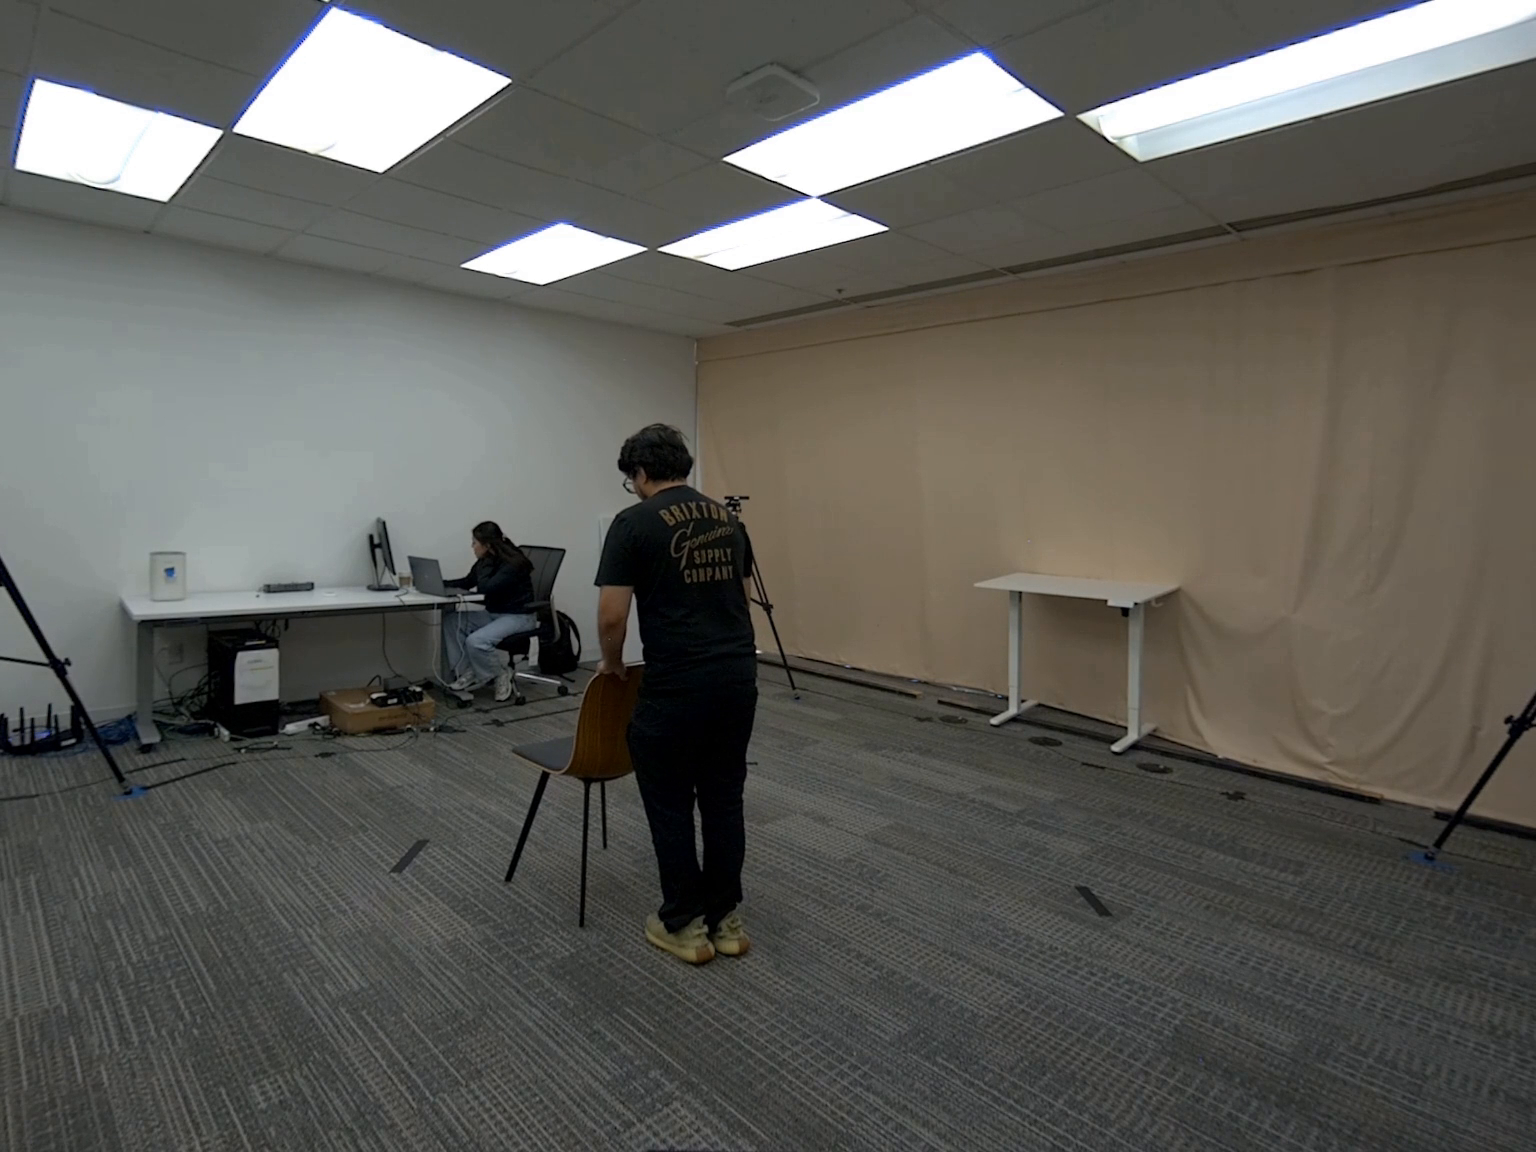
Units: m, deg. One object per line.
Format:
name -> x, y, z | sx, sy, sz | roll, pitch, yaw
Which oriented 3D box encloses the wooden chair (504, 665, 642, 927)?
wooden chair -> -0.623, 0.677, 2.989 | 0.537, 0.873, 0.467 | 10, 9, 42
